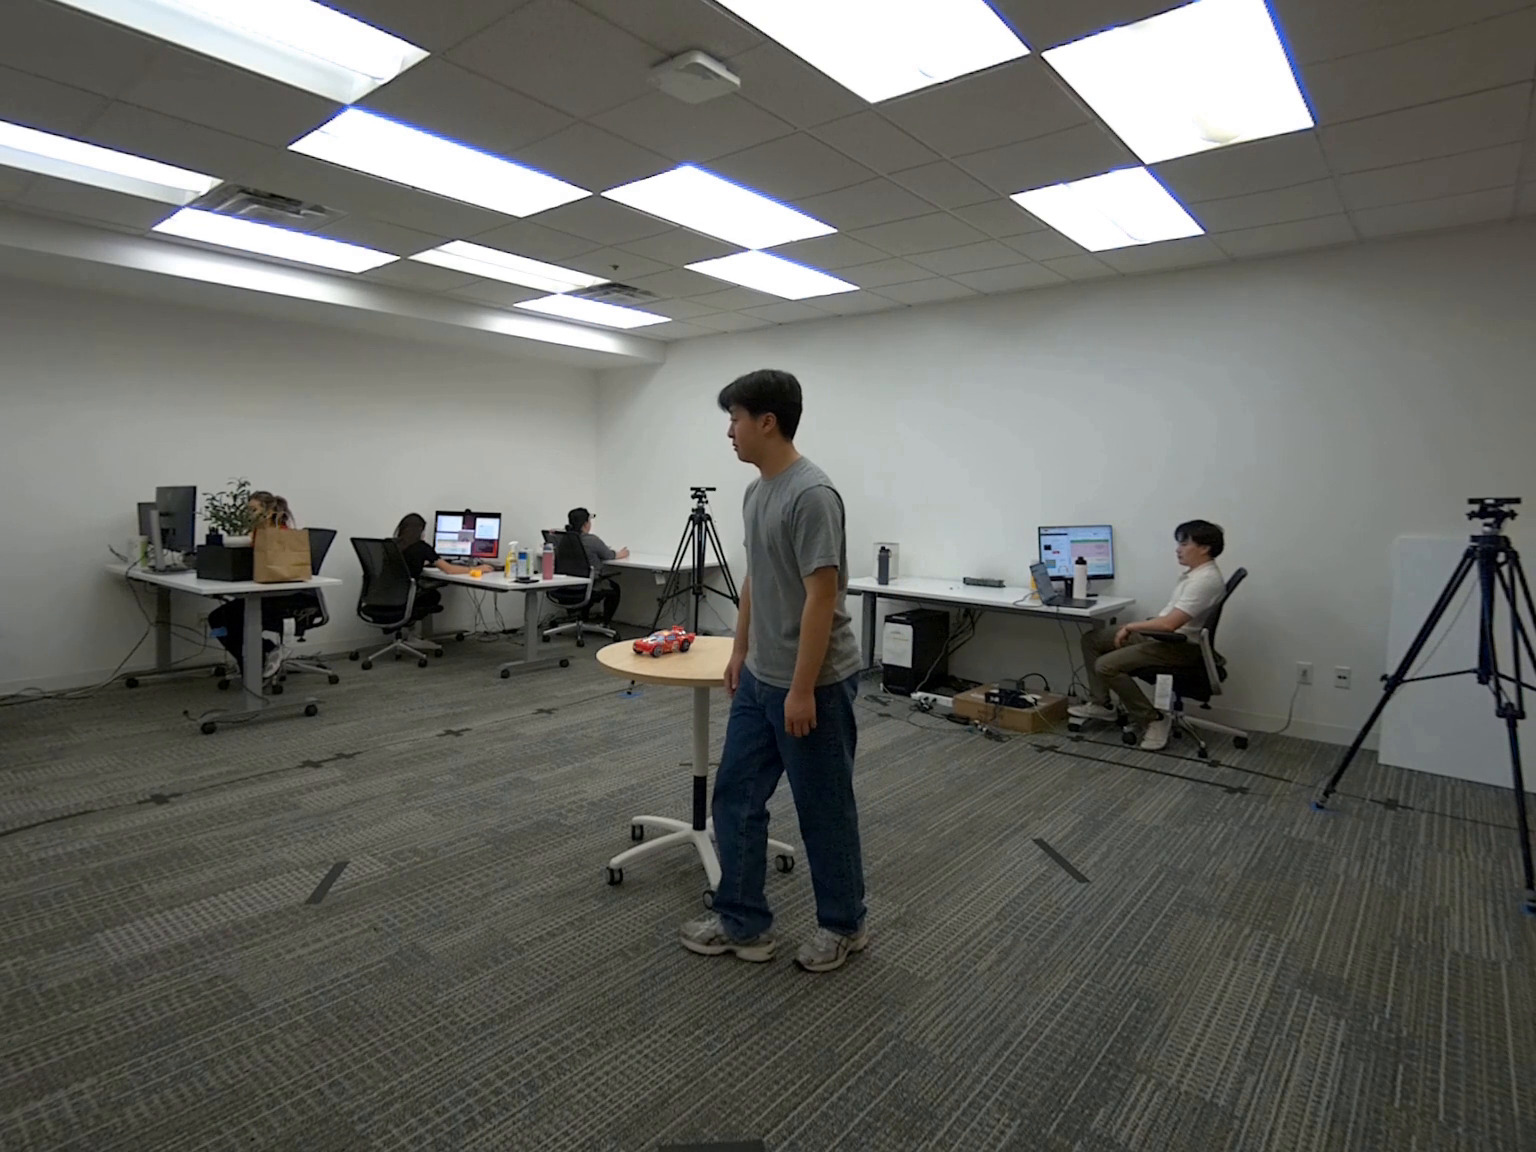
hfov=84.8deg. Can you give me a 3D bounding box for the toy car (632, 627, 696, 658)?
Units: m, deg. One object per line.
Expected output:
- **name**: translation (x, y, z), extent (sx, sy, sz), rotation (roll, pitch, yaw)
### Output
- **toy car**: translation (-0.387, 0.245, 3.131), extent (0.135, 0.082, 0.249), rotation (5, 18, 40)
